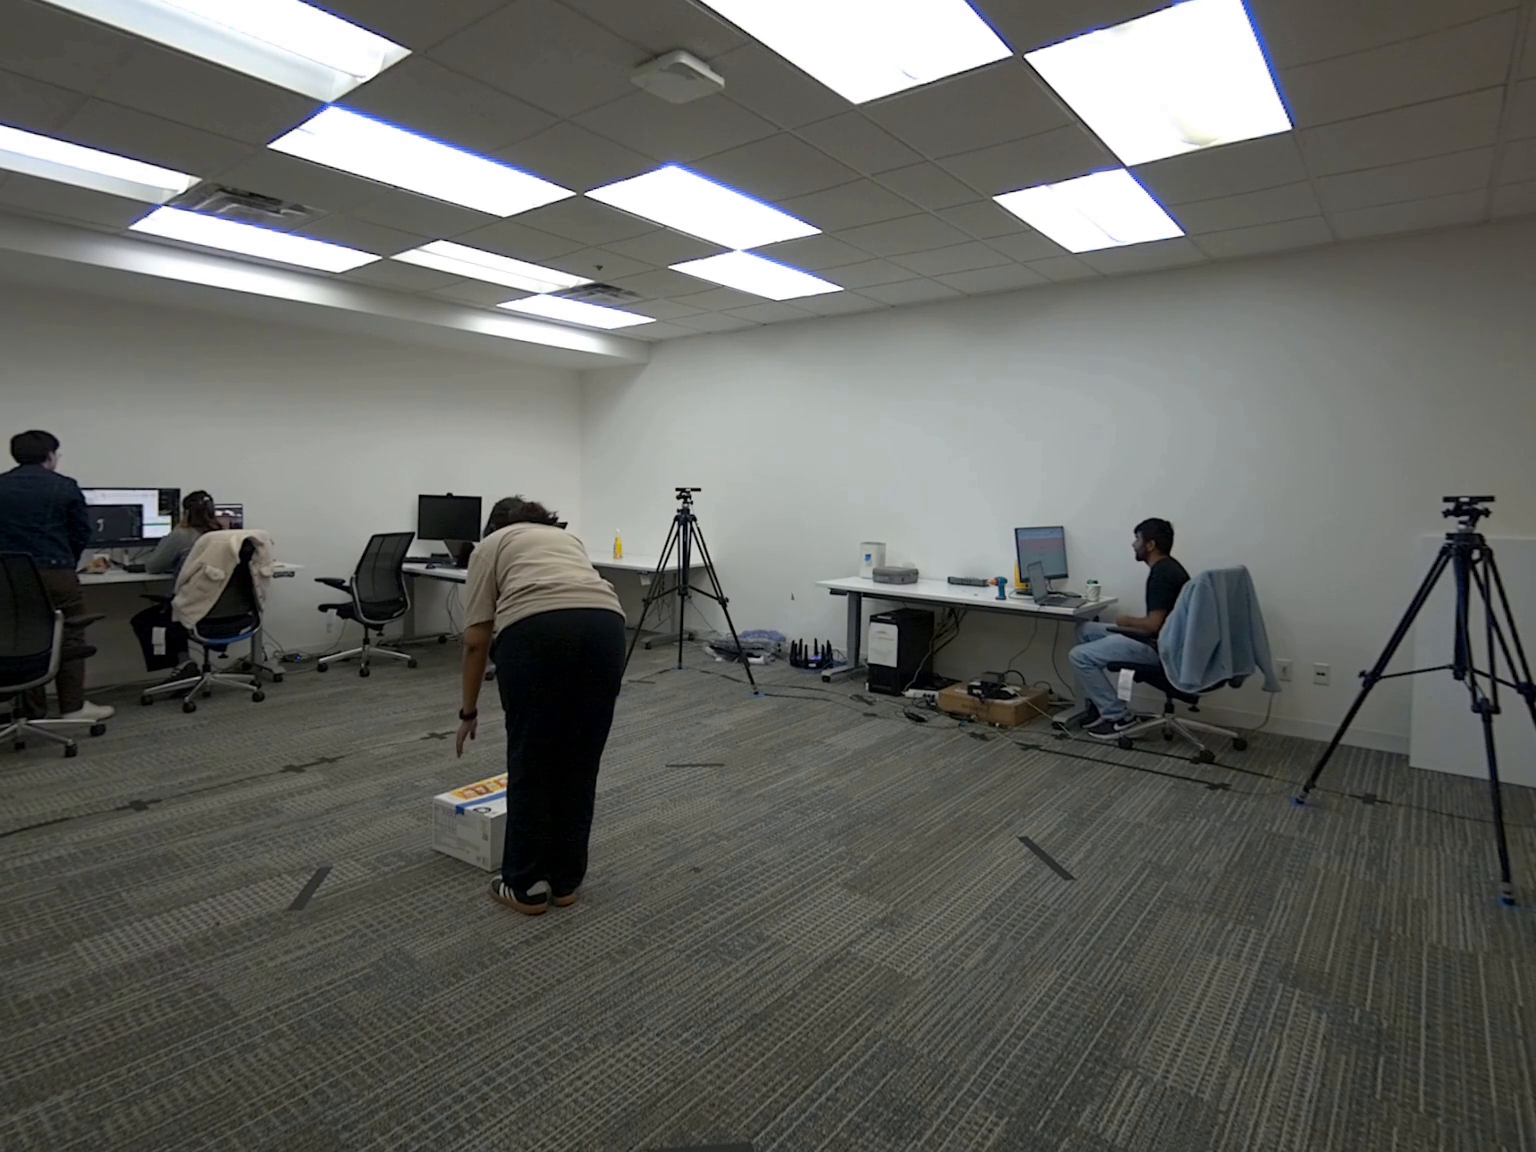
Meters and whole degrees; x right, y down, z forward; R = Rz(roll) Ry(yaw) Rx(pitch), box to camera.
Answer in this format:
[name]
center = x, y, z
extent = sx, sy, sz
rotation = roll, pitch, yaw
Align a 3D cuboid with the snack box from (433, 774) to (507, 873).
[snack box]
center = -1.040, 0.938, 3.298
extent = 0.351, 0.205, 0.394
rotation = 4, 6, 33
